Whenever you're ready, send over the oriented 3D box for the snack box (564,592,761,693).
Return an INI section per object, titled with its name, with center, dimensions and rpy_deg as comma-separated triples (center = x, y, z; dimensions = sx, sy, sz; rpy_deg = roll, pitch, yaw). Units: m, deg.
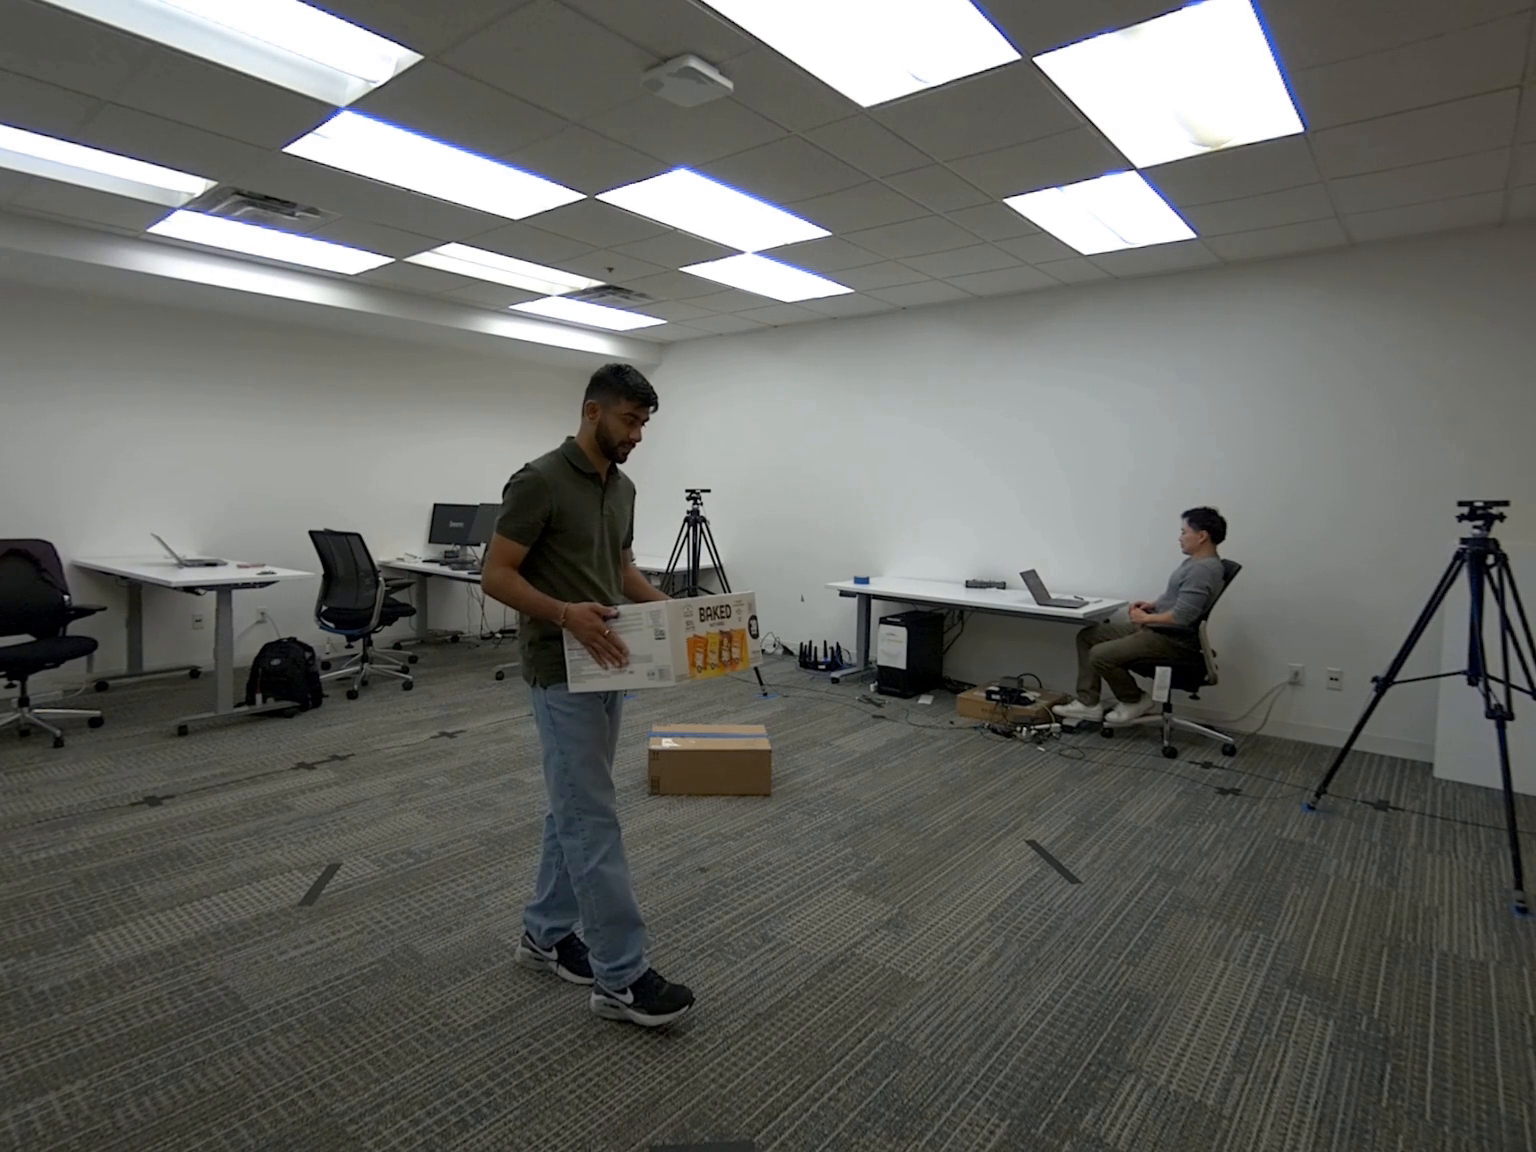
[snack box]
center = -0.277, 0.169, 2.216
dimensions = 0.349, 0.206, 0.394
rpy_deg = -8, -2, 31
